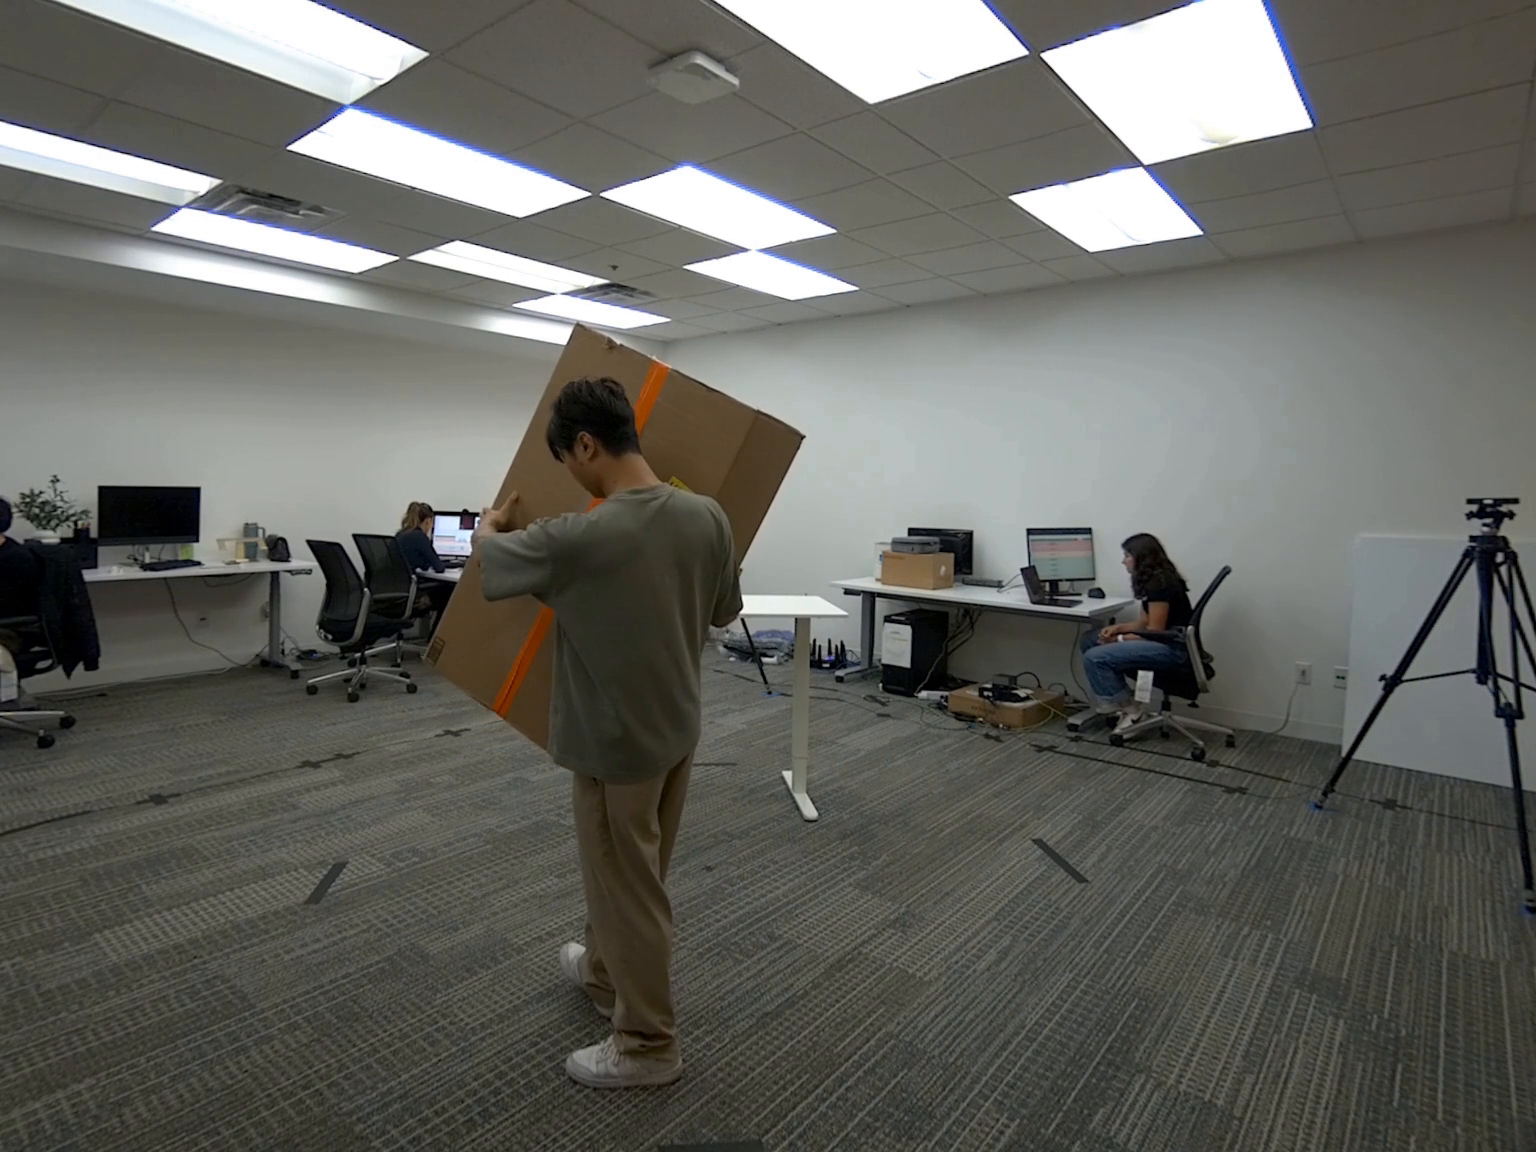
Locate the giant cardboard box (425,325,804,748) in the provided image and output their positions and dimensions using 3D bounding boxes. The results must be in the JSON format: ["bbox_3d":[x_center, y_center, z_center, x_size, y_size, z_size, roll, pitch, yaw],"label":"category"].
[{"bbox_3d":[-0.438,-0.080,2.375,0.592,1.022,0.417,30,9,18],"label":"giant cardboard box"}]
